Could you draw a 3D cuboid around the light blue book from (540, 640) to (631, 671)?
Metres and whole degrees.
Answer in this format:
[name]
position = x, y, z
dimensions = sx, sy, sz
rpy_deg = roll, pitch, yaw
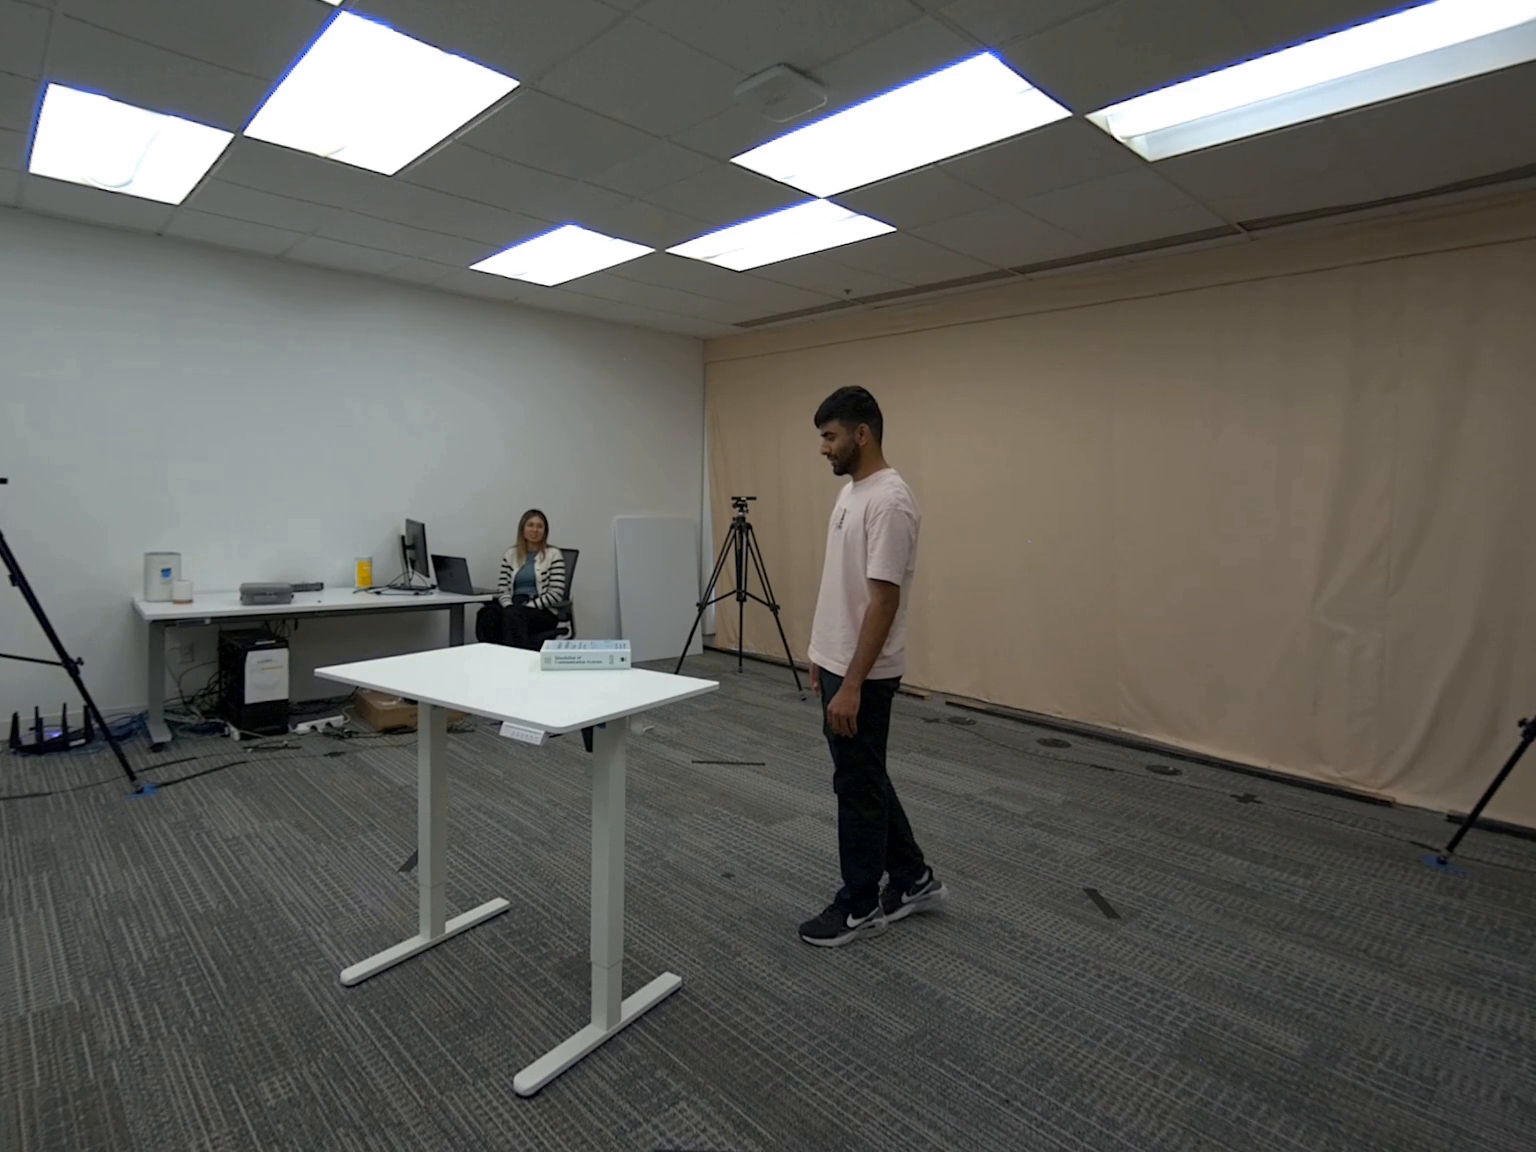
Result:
[light blue book]
position = -0.552, 0.242, 2.518
dimensions = 0.259, 0.059, 0.193
rpy_deg = 0, 6, -10
